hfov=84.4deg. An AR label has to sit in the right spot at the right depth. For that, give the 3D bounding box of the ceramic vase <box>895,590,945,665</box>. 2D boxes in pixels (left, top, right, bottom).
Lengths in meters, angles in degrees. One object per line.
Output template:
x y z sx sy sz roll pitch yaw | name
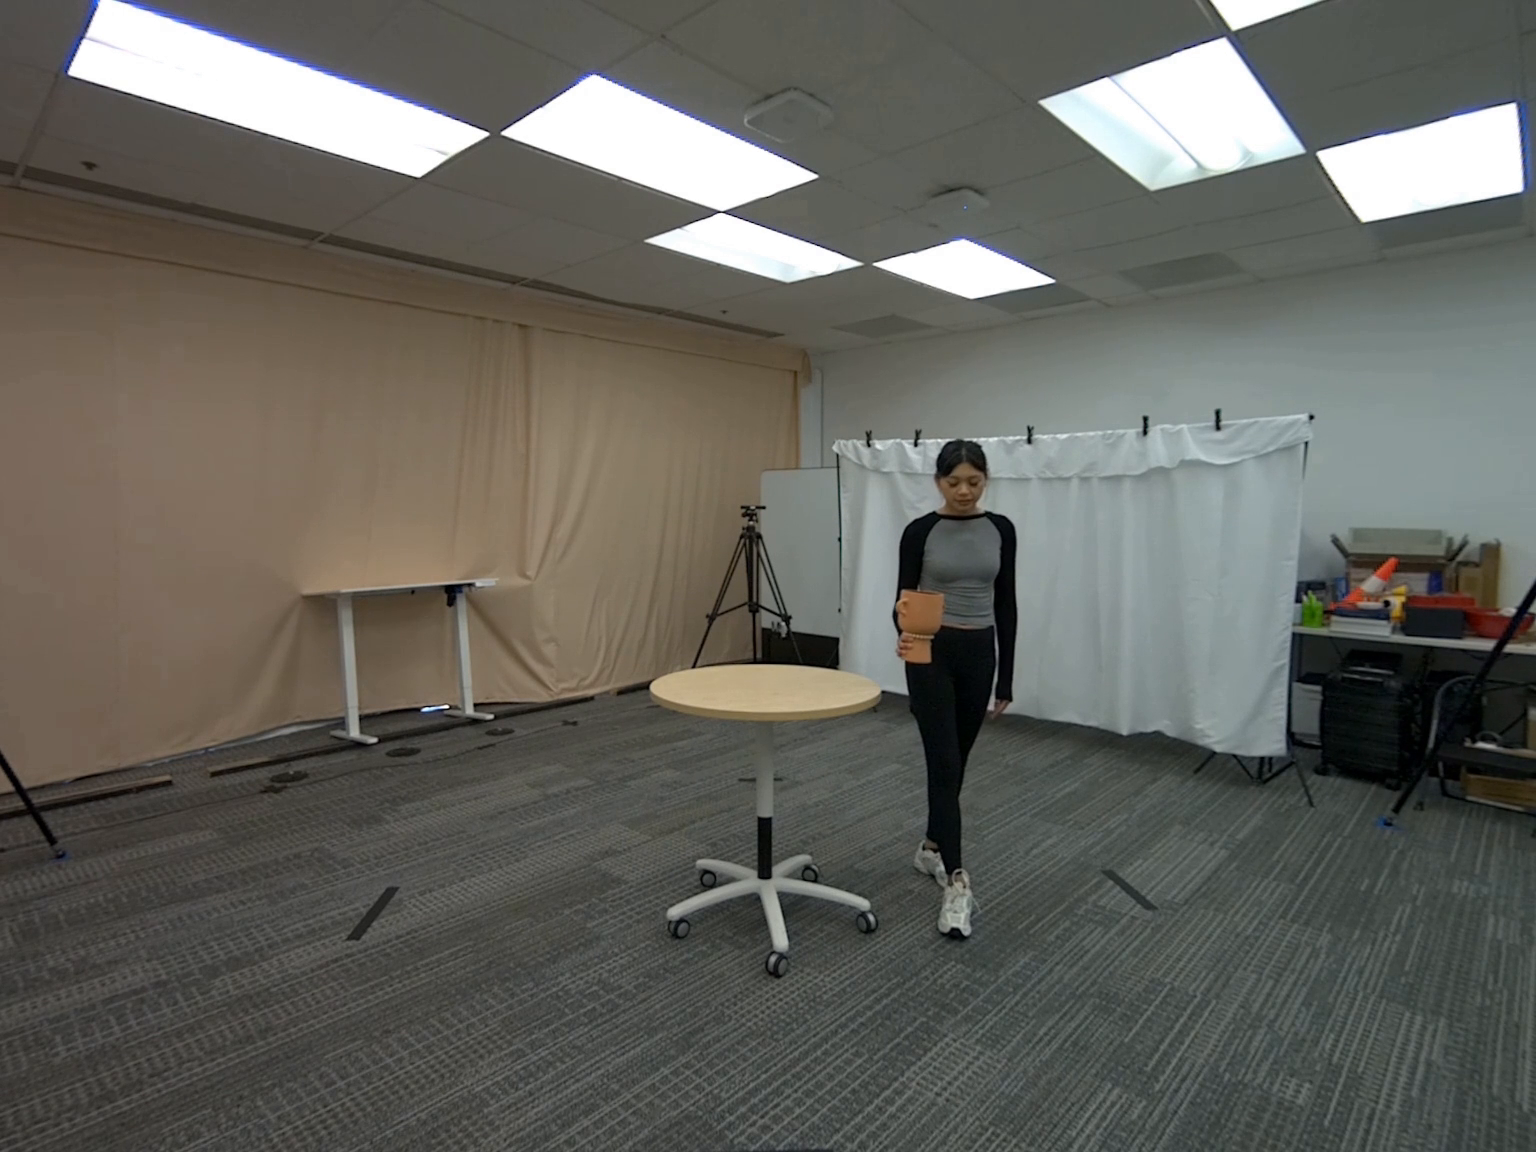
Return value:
0.489 0.161 2.698 0.161 0.219 0.133 7 3 9 | ceramic vase
